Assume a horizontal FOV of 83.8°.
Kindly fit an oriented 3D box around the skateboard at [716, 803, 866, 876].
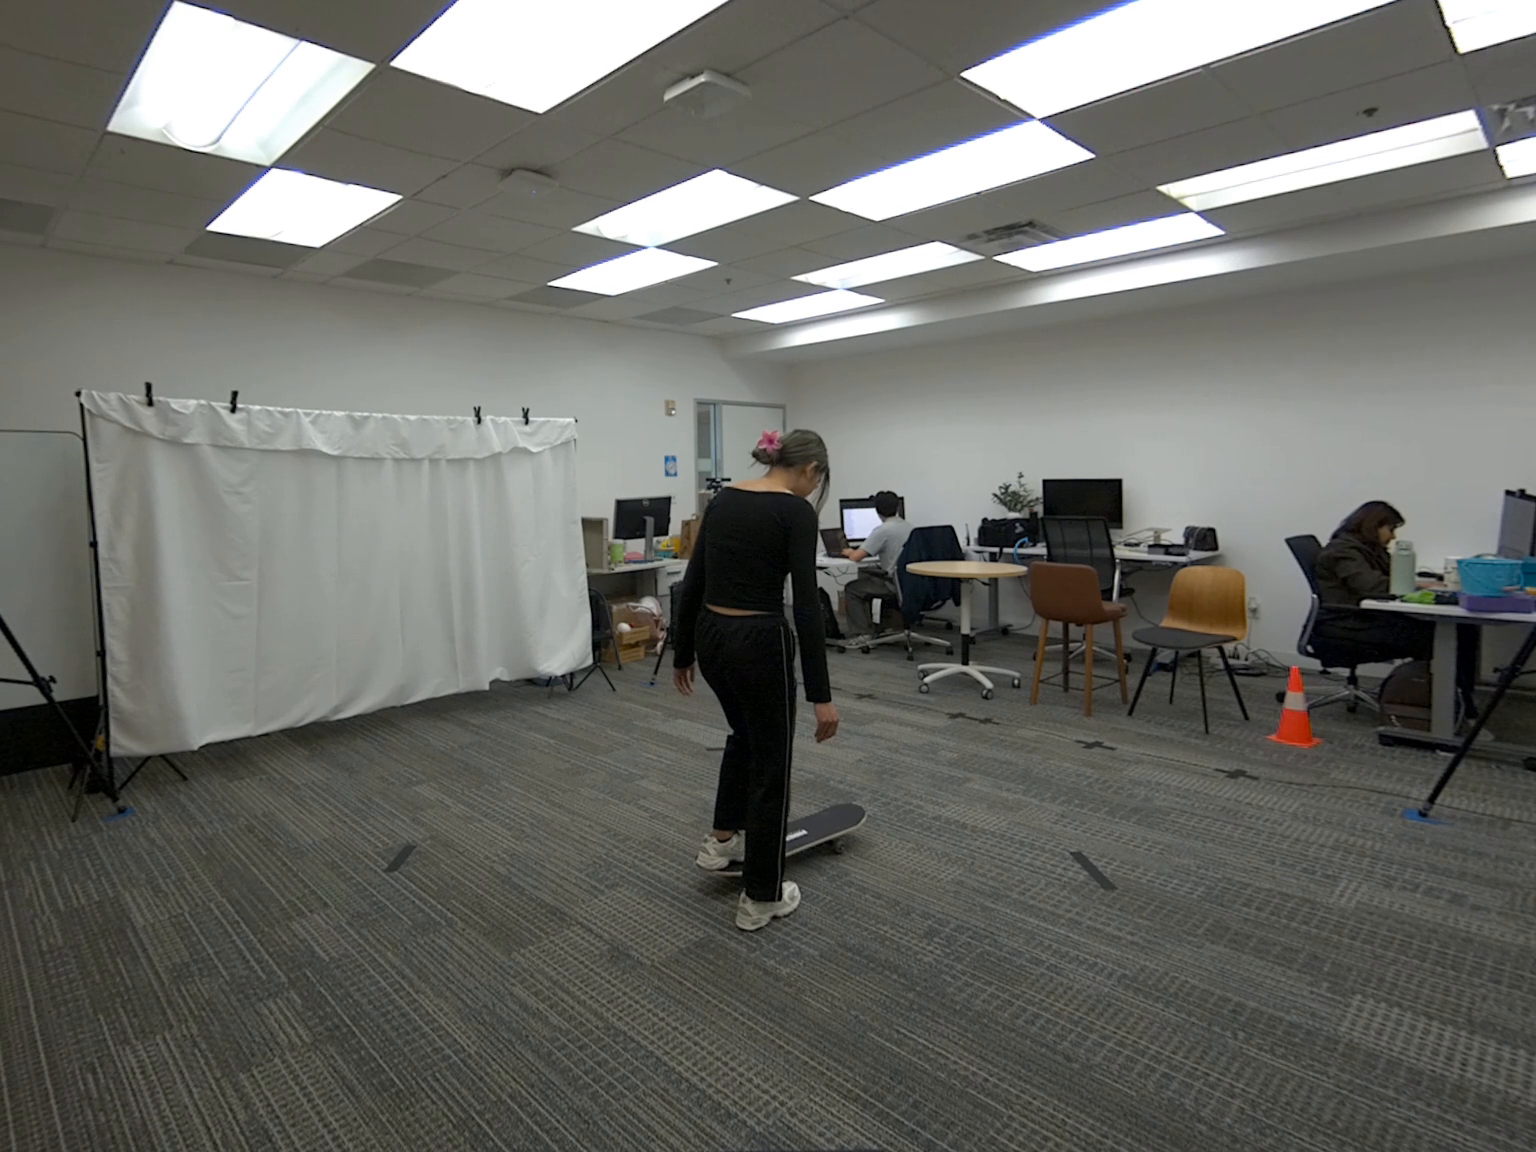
[{"bbox_3d":[0.065,0.986,3.103,0.765,0.110,0.199,-8,9,-40],"label":"skateboard"}]
